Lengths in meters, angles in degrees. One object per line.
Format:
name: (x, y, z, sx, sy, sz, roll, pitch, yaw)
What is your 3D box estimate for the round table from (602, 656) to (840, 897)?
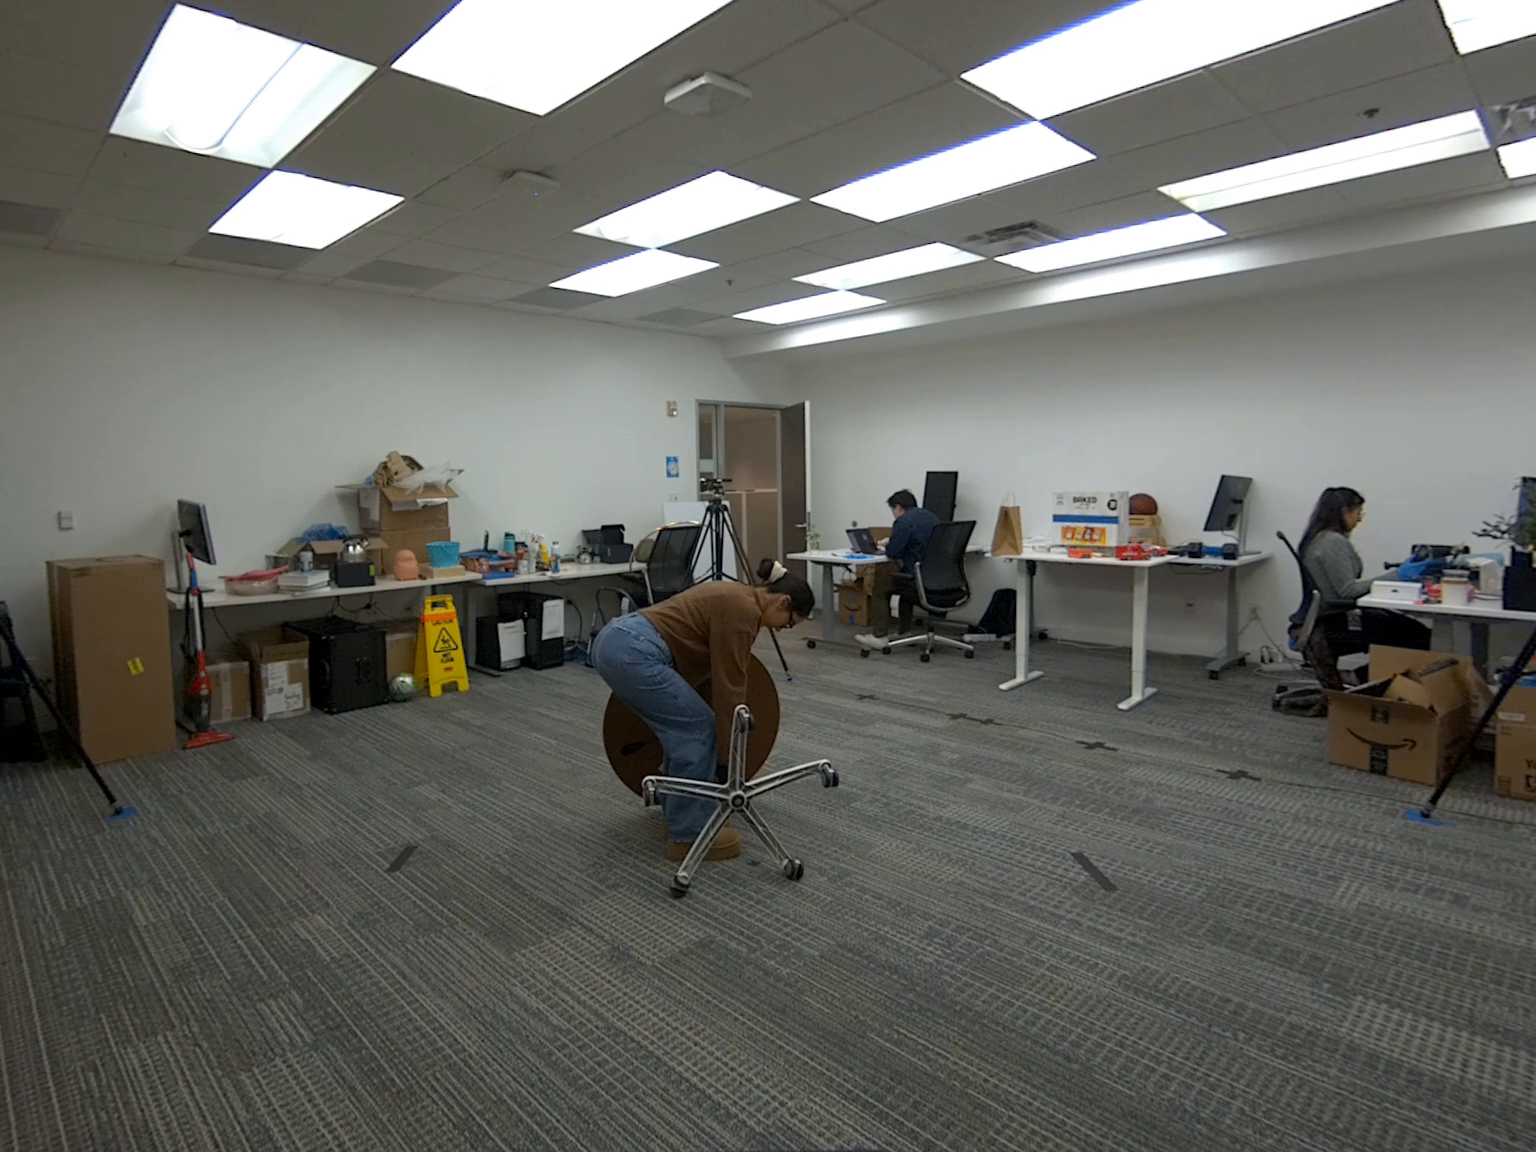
round table: (-0.199, 0.710, 3.227, 0.753, 0.756, 0.813, -2, 13, -15)
